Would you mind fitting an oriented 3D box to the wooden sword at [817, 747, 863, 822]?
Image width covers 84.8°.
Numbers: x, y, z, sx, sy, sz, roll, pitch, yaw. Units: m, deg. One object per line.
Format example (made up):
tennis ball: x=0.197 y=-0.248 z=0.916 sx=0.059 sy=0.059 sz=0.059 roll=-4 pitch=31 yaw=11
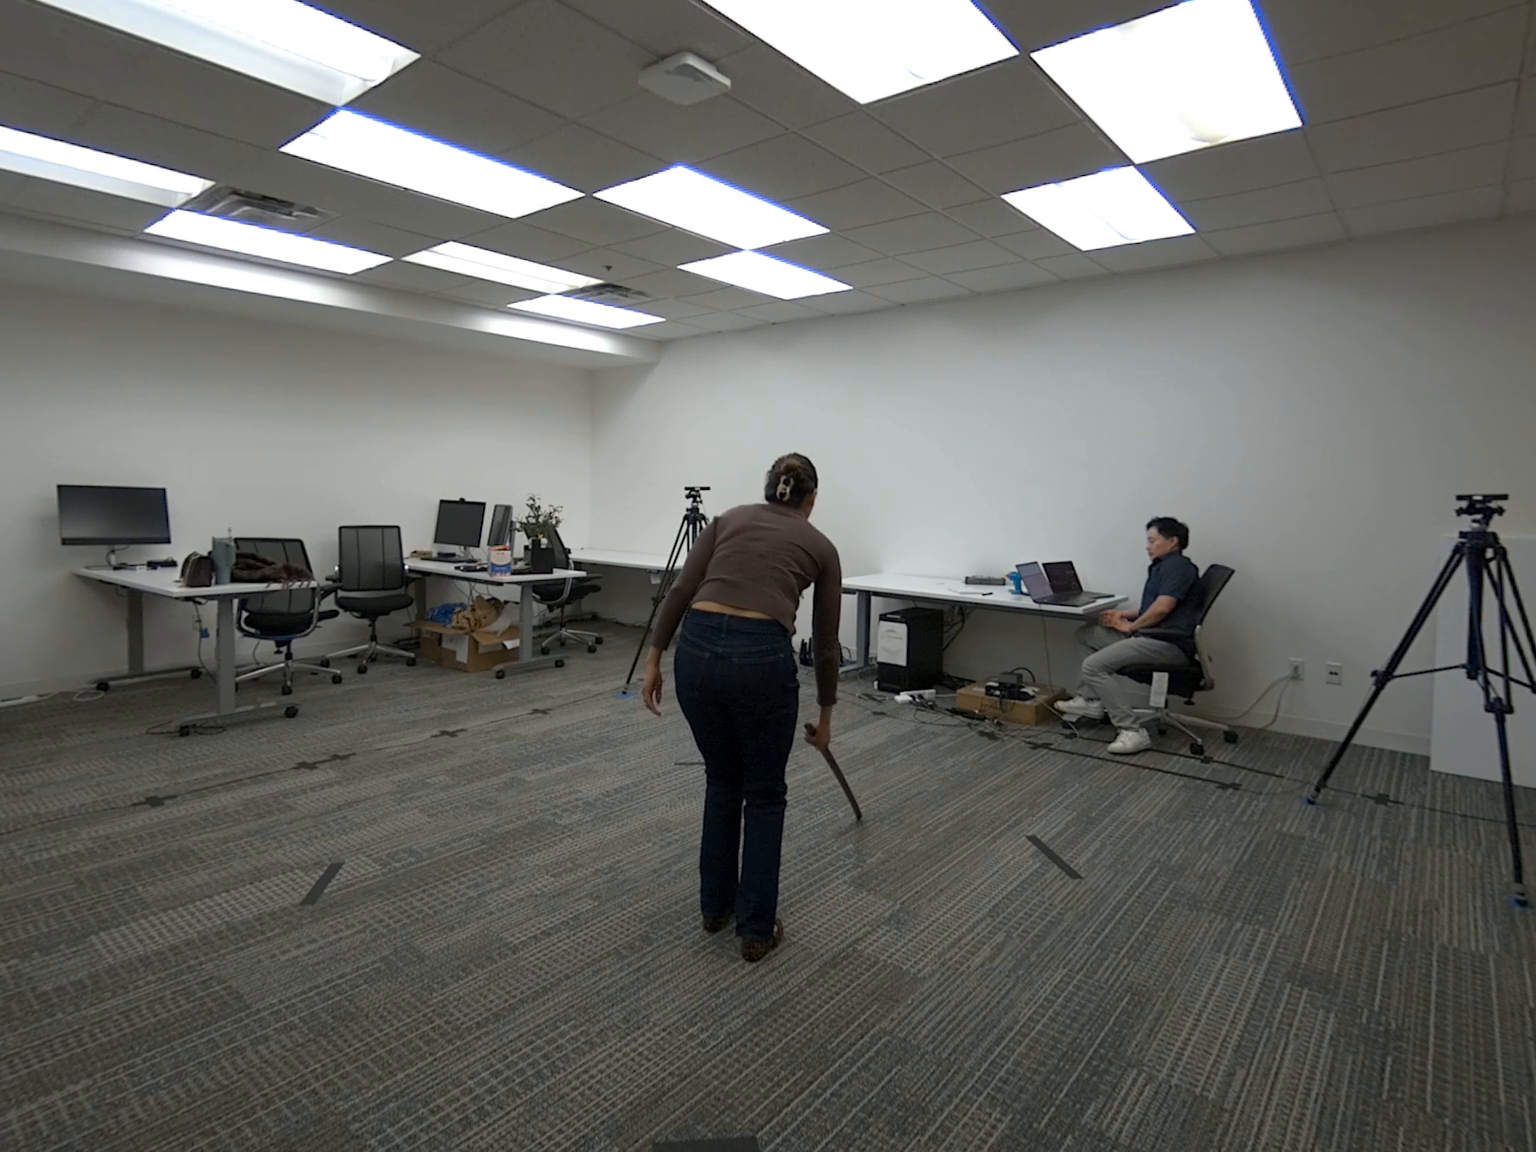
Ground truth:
wooden sword: x=0.247 y=0.760 z=3.202 sx=0.051 sy=0.025 sz=0.986 roll=-34 pitch=-35 yaw=-5
